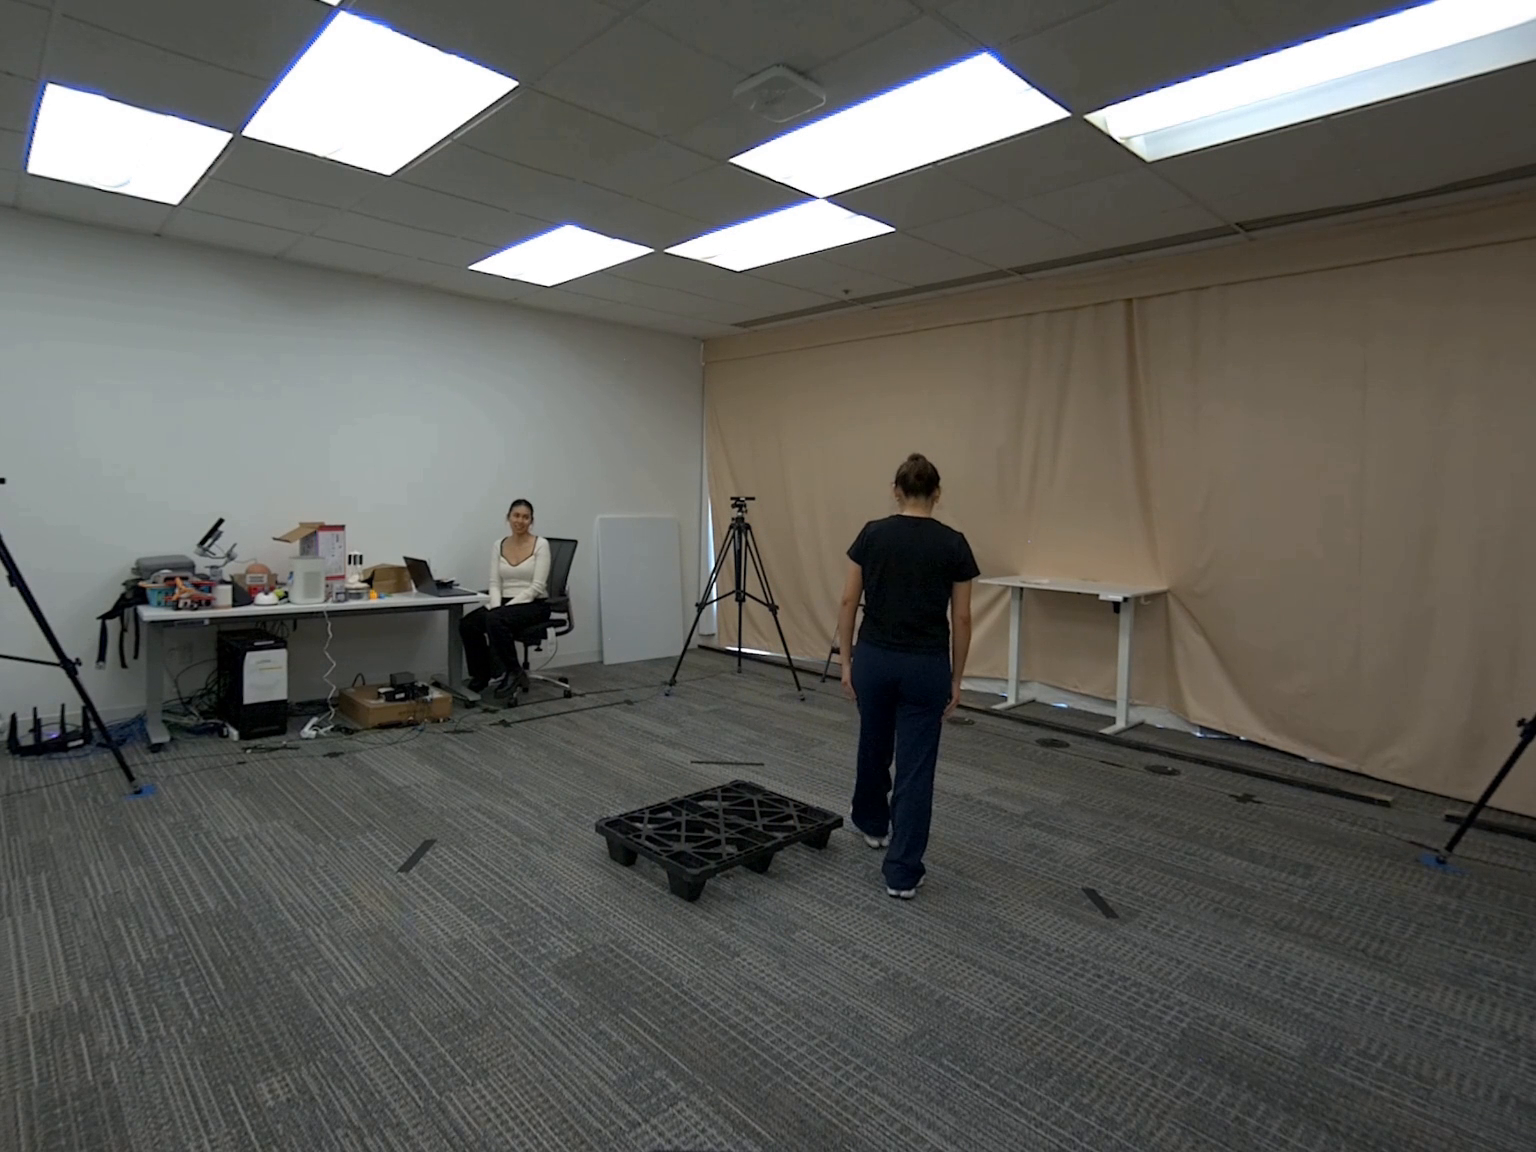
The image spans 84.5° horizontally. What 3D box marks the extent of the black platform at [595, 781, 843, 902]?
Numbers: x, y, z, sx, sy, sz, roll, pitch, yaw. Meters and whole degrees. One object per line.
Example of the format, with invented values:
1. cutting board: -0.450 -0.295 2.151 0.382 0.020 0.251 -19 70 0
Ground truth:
1. black platform: -0.194 1.024 3.297 0.787 0.143 0.620 -3 6 -45
